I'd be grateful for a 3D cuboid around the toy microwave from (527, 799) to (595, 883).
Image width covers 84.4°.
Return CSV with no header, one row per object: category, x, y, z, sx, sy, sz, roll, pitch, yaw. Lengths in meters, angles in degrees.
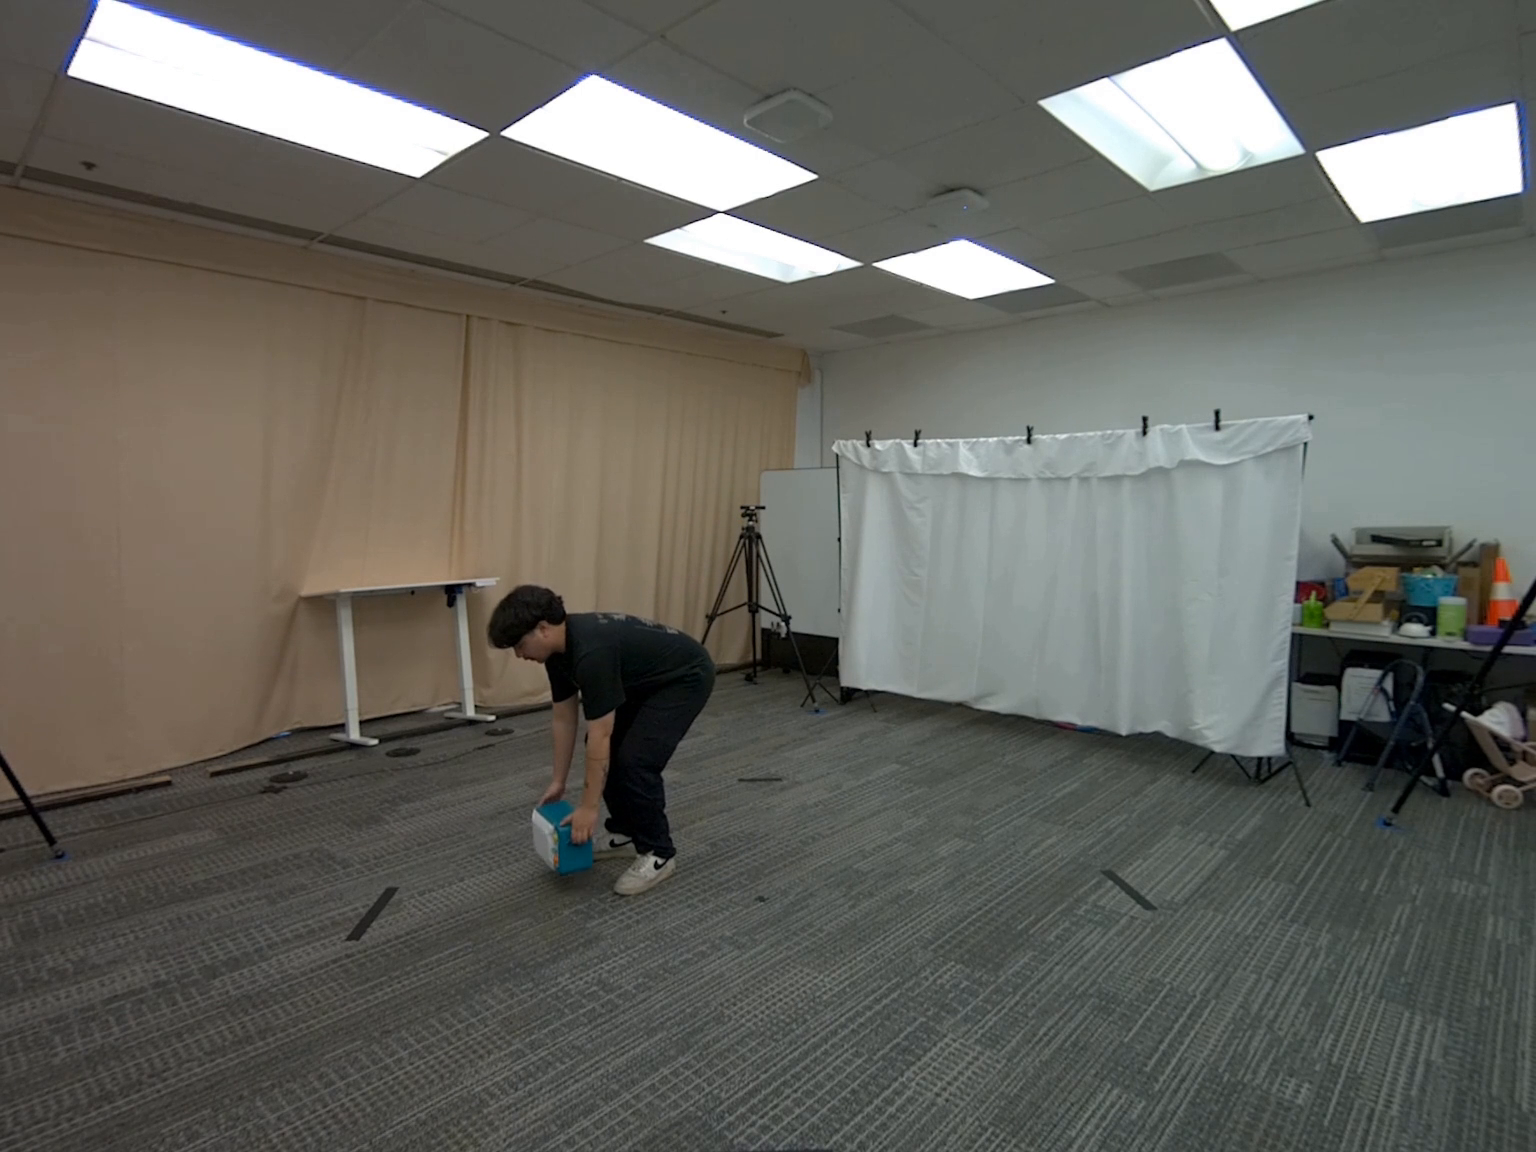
toy microwave,-0.768,0.966,3.117,0.148,0.184,0.295,-3,4,-32
